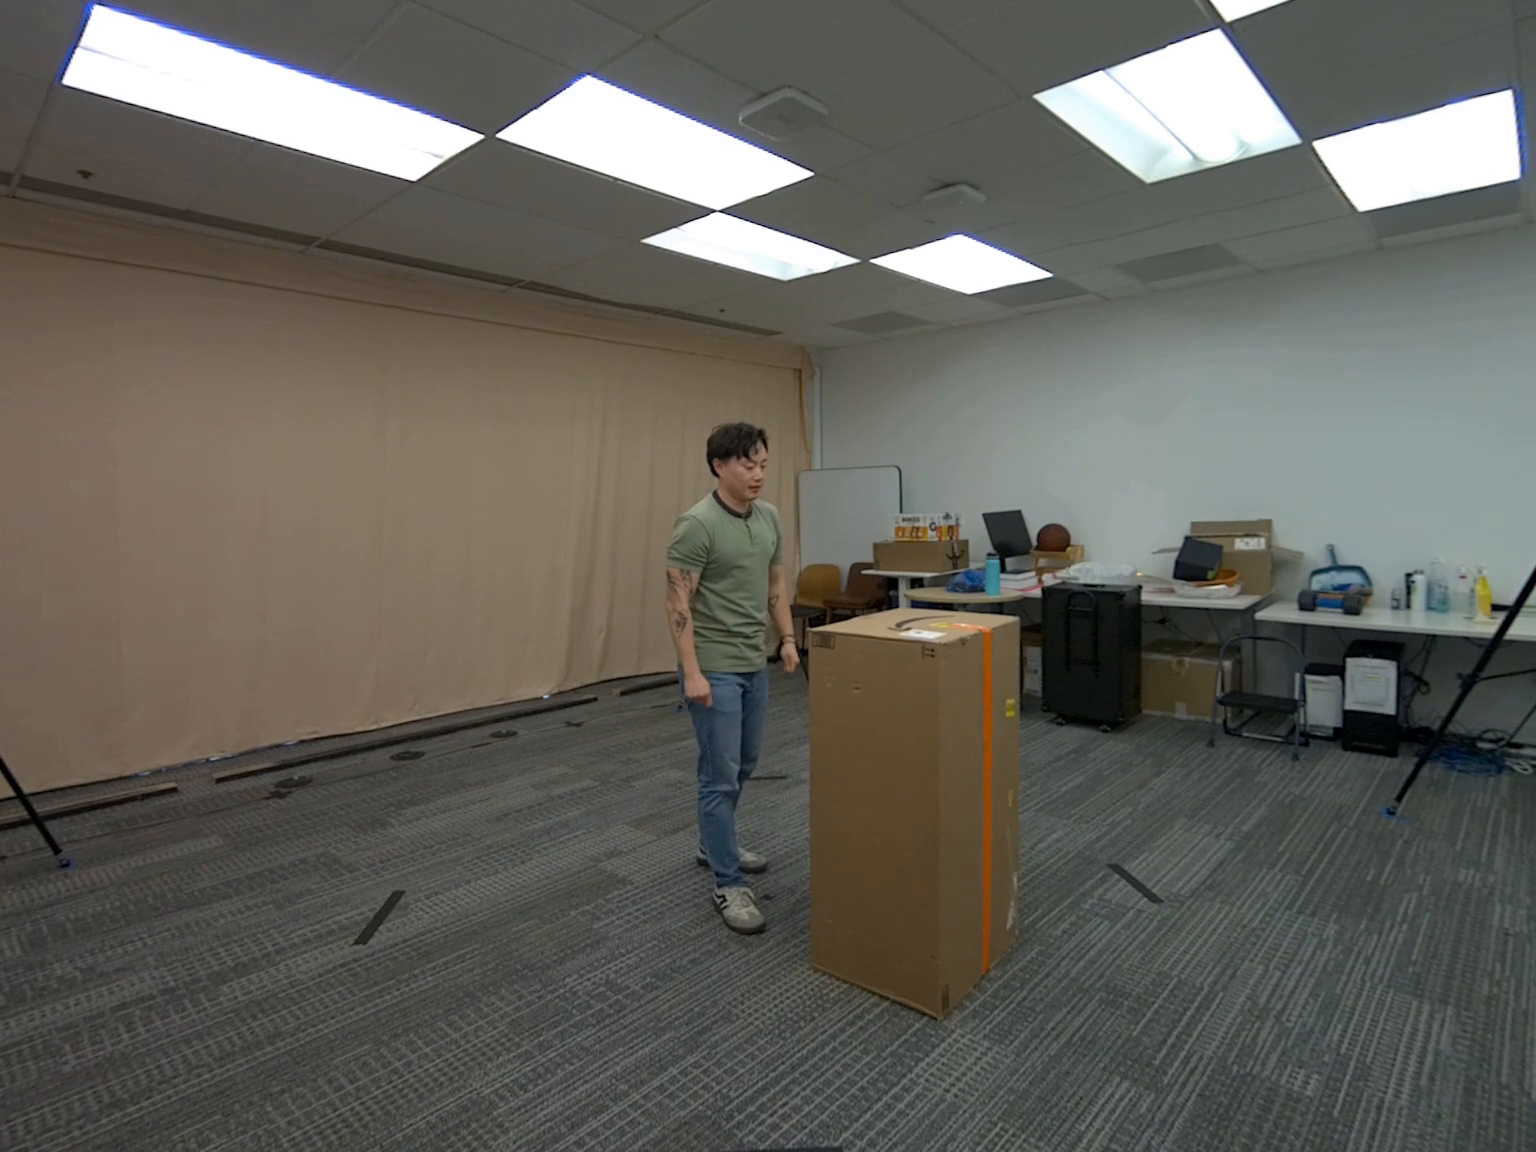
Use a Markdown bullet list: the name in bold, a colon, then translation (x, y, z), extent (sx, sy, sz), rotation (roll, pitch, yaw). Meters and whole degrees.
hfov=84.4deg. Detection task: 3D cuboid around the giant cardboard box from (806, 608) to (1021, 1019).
- **giant cardboard box**: translation (0.465, 0.655, 2.574), extent (0.440, 1.023, 0.560), rotation (2, 4, 38)
